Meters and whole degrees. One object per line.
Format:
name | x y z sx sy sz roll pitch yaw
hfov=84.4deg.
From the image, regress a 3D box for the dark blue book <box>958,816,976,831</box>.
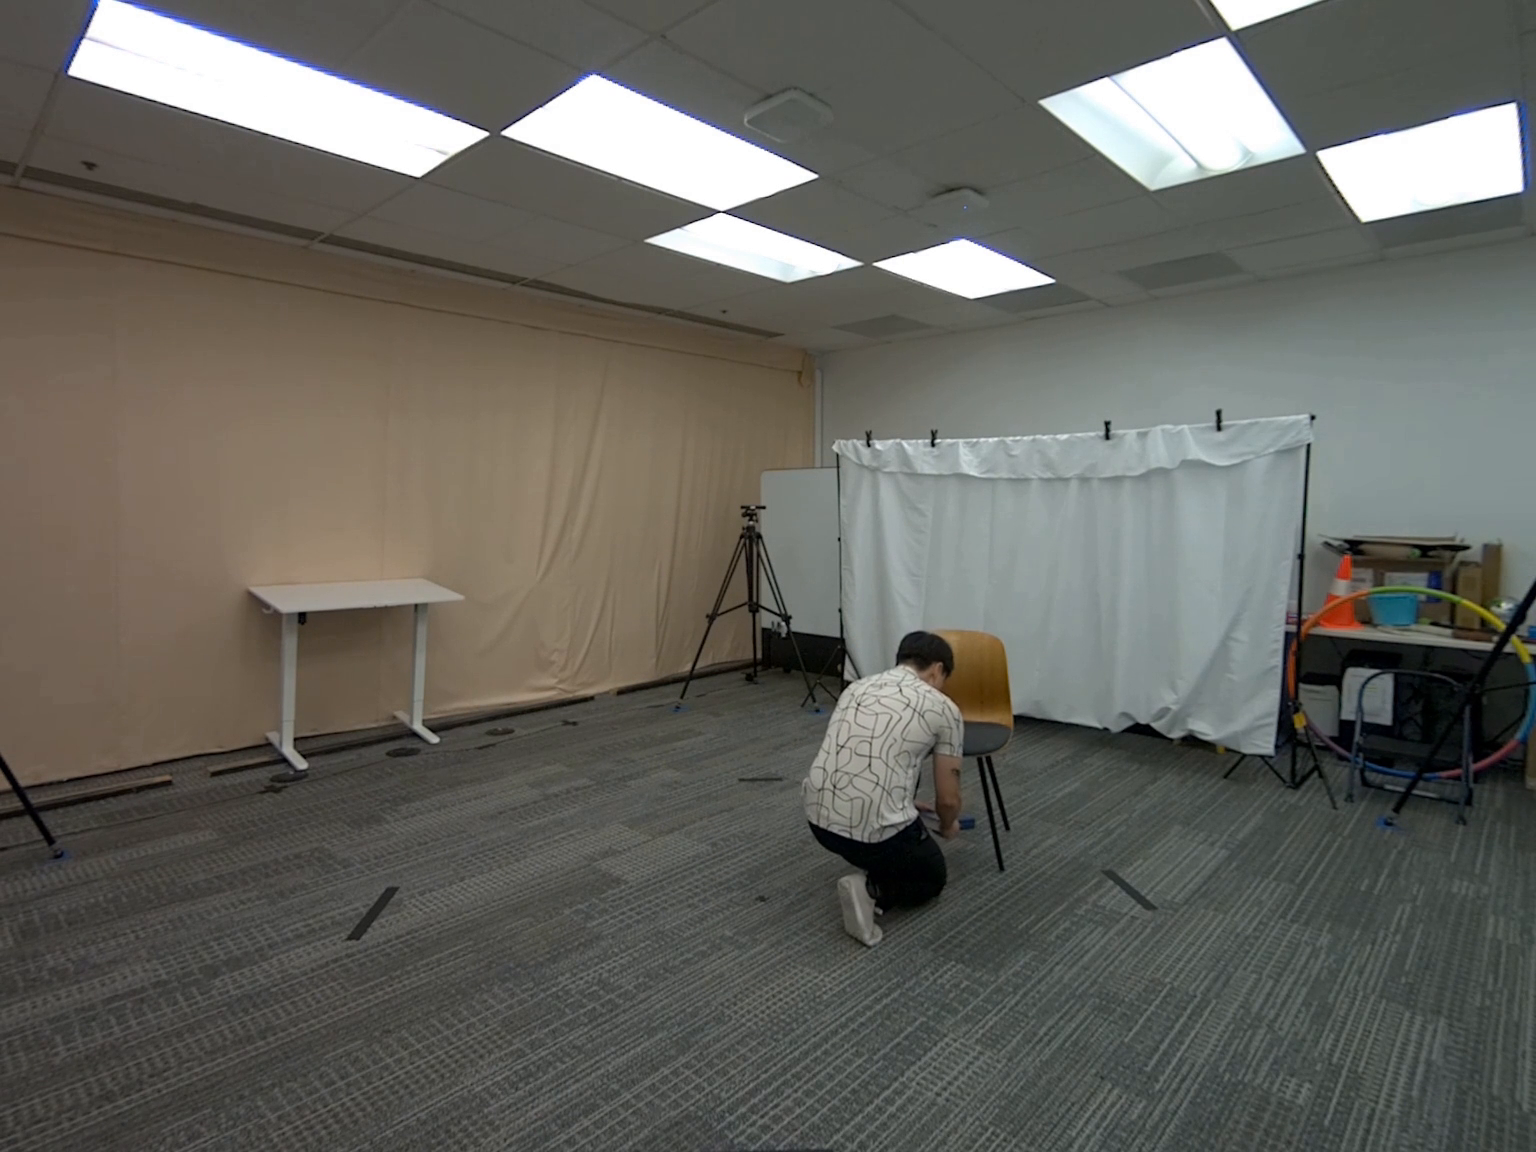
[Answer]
dark blue book | 0.687 0.945 3.237 0.169 0.045 0.237 7 1 42
